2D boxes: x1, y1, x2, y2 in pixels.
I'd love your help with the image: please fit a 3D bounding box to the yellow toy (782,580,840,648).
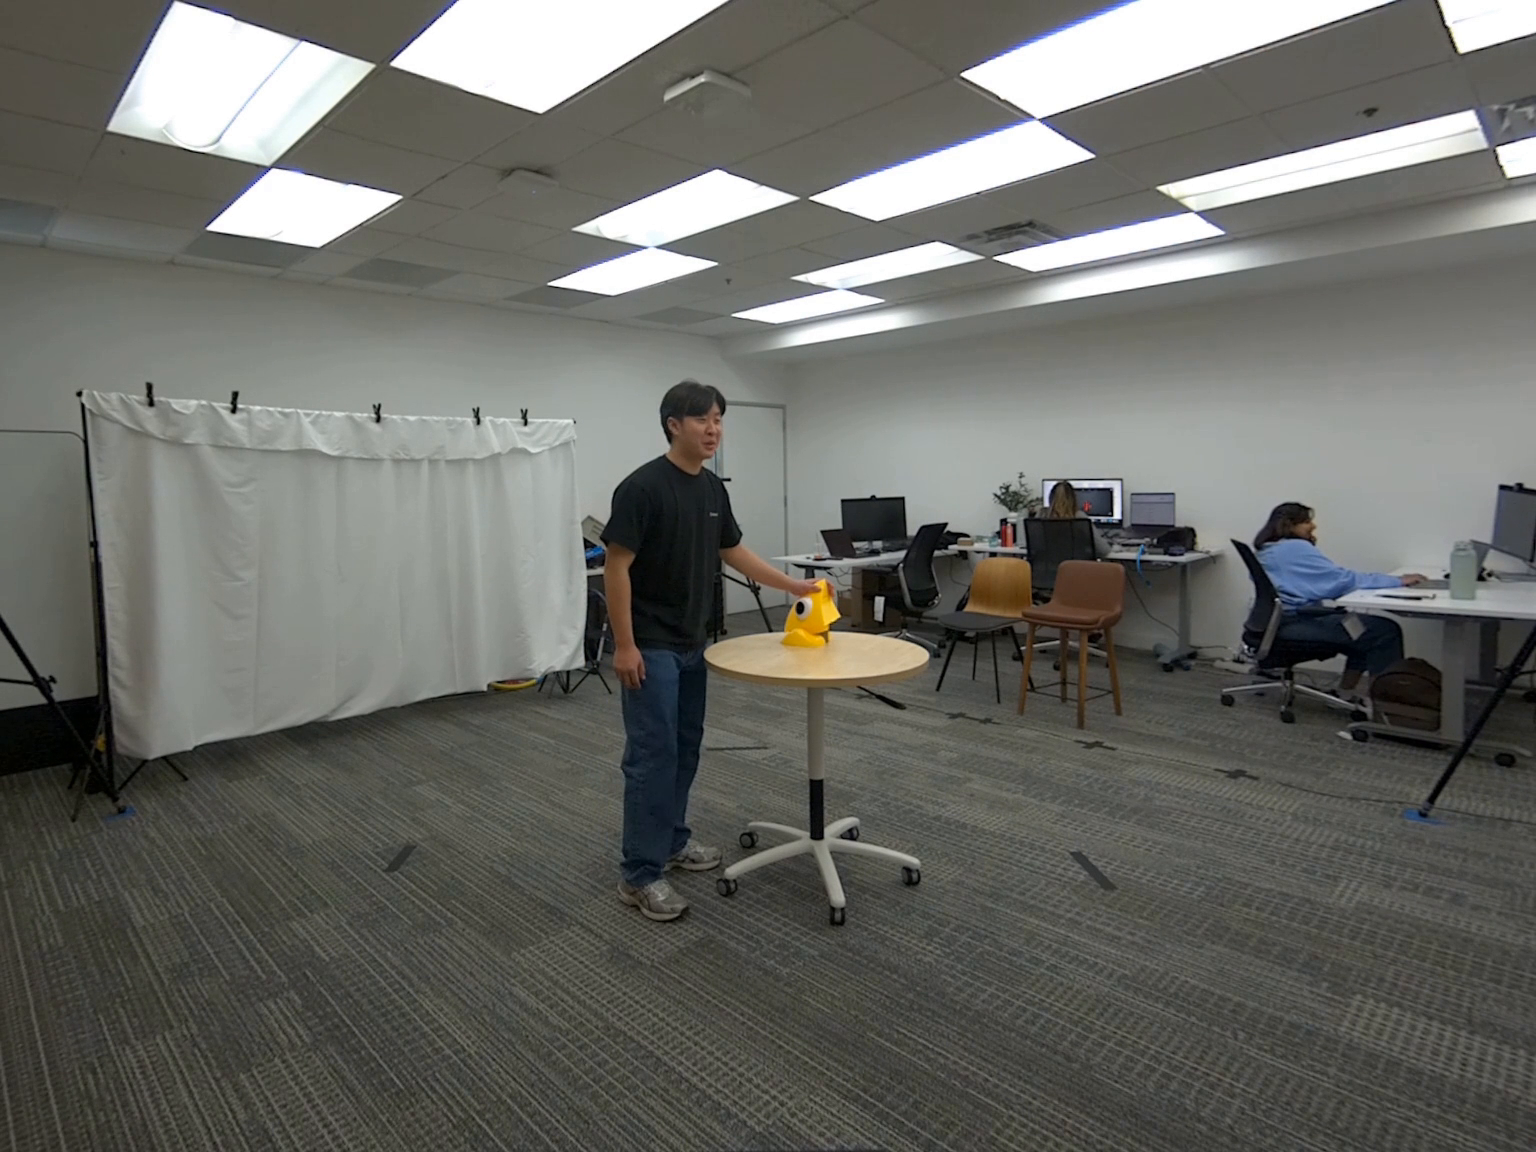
[{"bbox_3d":[0.149,0.124,3.116,0.197,0.230,0.201,1,4,22],"label":"yellow toy"}]
